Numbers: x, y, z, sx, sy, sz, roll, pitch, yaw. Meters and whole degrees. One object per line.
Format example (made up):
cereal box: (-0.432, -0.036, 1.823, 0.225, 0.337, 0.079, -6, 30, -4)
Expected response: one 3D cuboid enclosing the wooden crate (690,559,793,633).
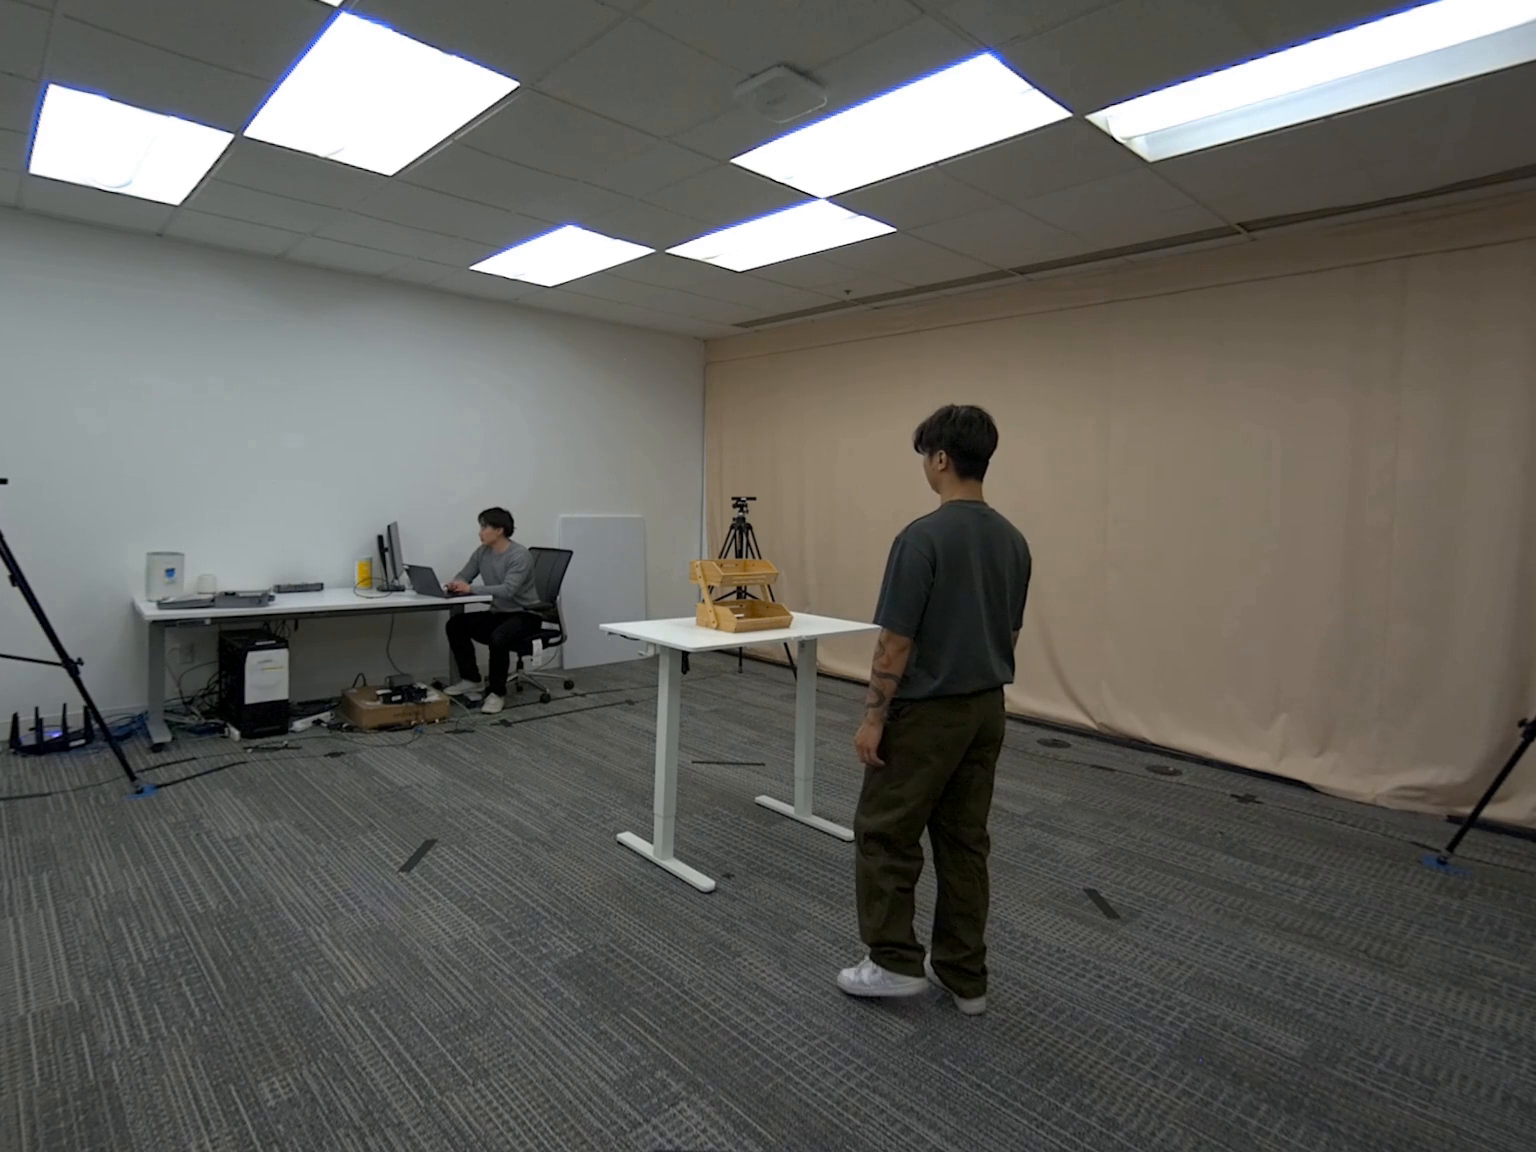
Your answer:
wooden crate: (-0.115, 0.069, 3.376, 0.317, 0.273, 0.309, -1, 4, -42)
